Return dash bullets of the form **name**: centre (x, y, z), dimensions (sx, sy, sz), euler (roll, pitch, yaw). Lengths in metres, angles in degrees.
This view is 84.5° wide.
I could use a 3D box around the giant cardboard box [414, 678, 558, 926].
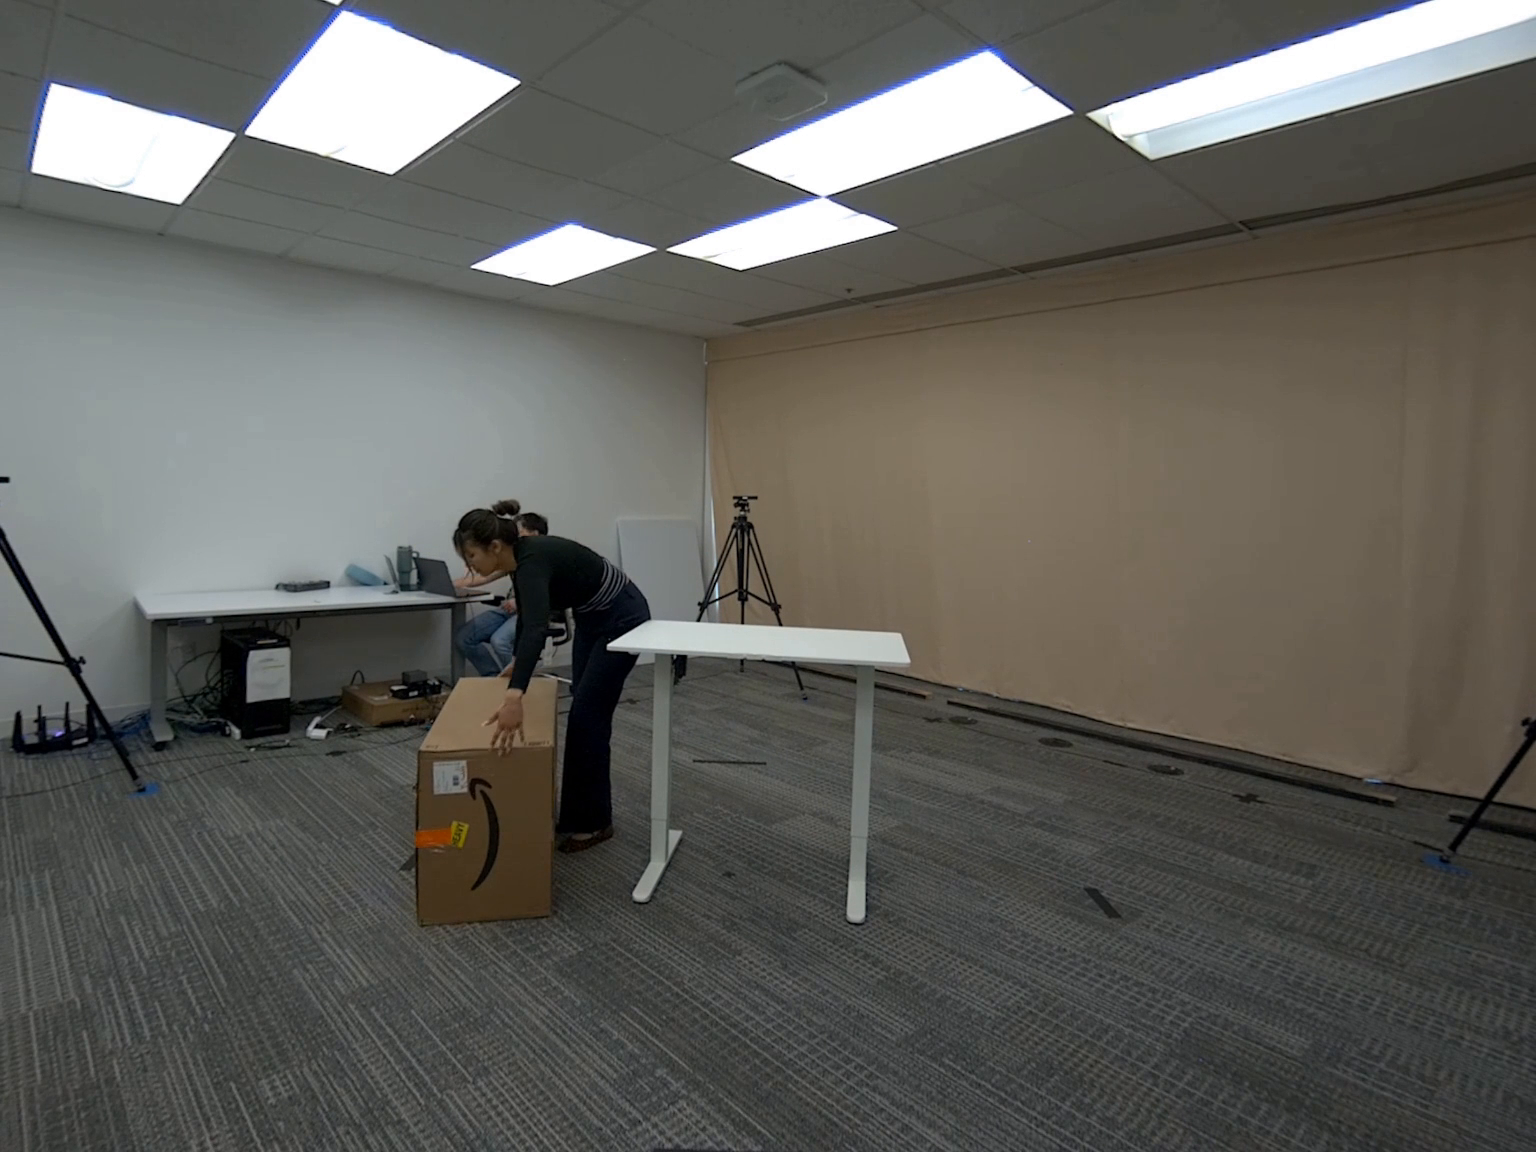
- **giant cardboard box**: centre (-1.038, 0.782, 3.203), dimensions (0.422, 0.576, 1.039), euler (0, 5, -13)
